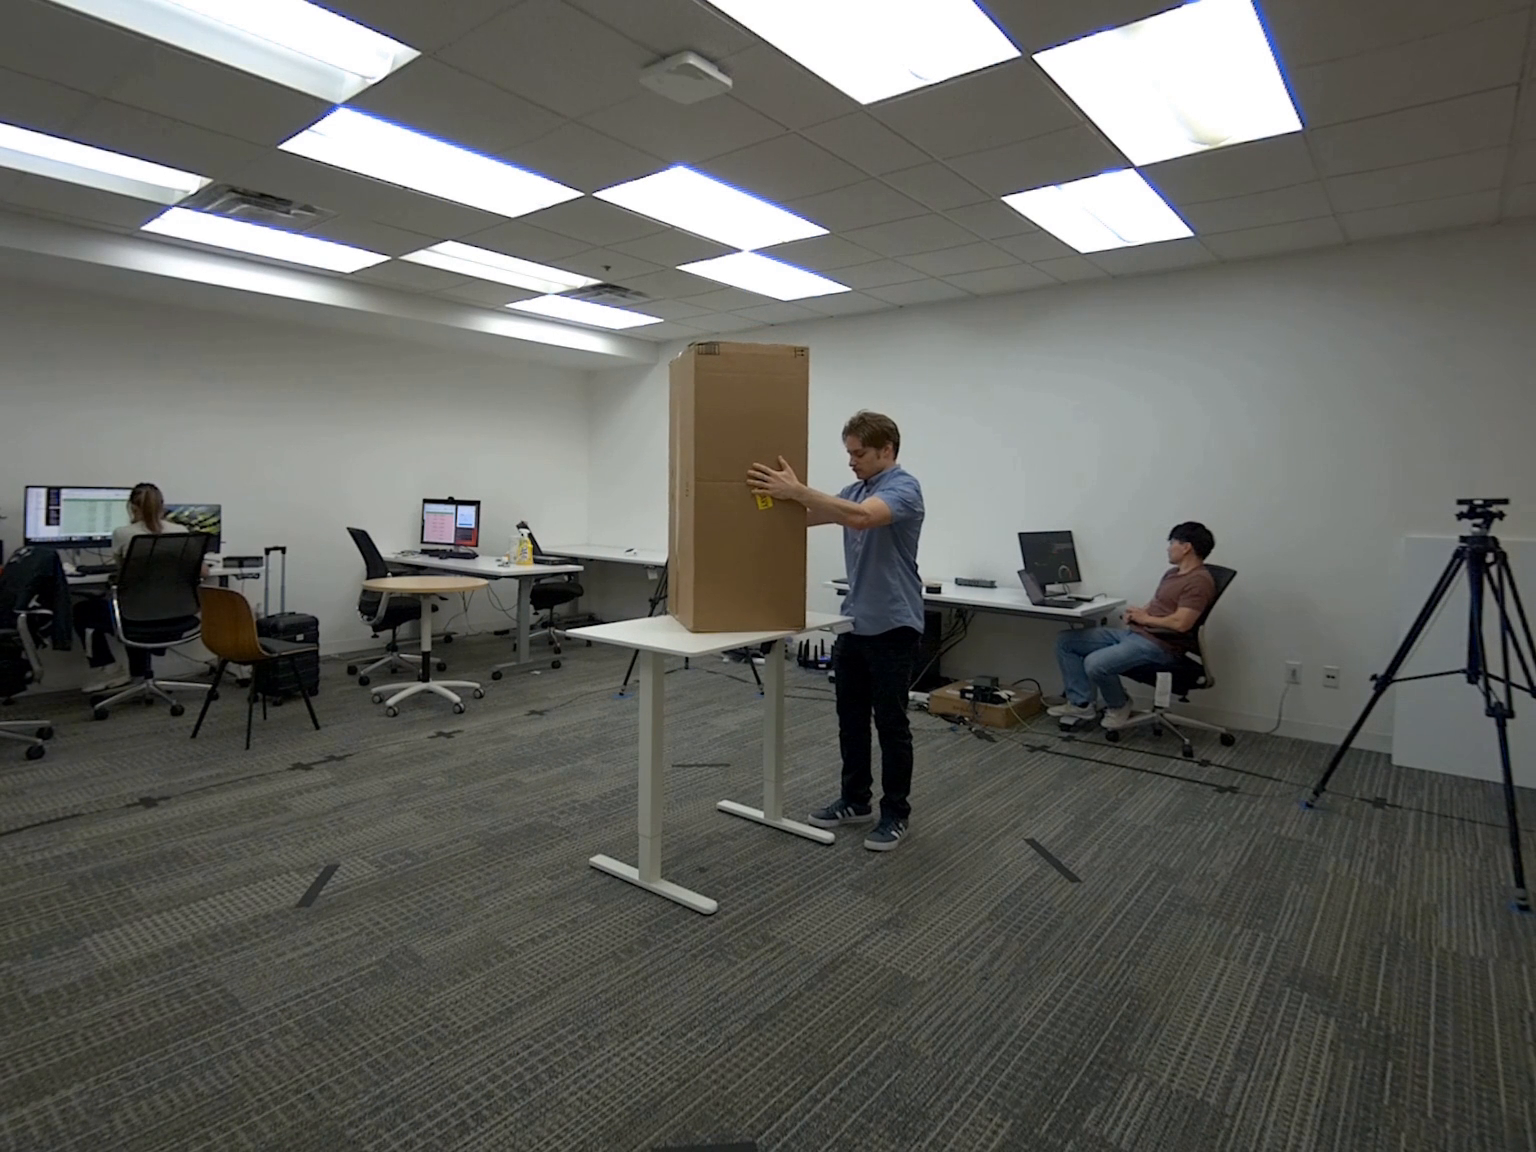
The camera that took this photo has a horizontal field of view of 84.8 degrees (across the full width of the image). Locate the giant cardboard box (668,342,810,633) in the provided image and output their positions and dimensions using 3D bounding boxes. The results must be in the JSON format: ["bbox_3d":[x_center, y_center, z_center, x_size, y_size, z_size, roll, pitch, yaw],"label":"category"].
[{"bbox_3d":[-0.141,-0.342,3.286,0.420,1.023,0.587,0,3,-14],"label":"giant cardboard box"}]
